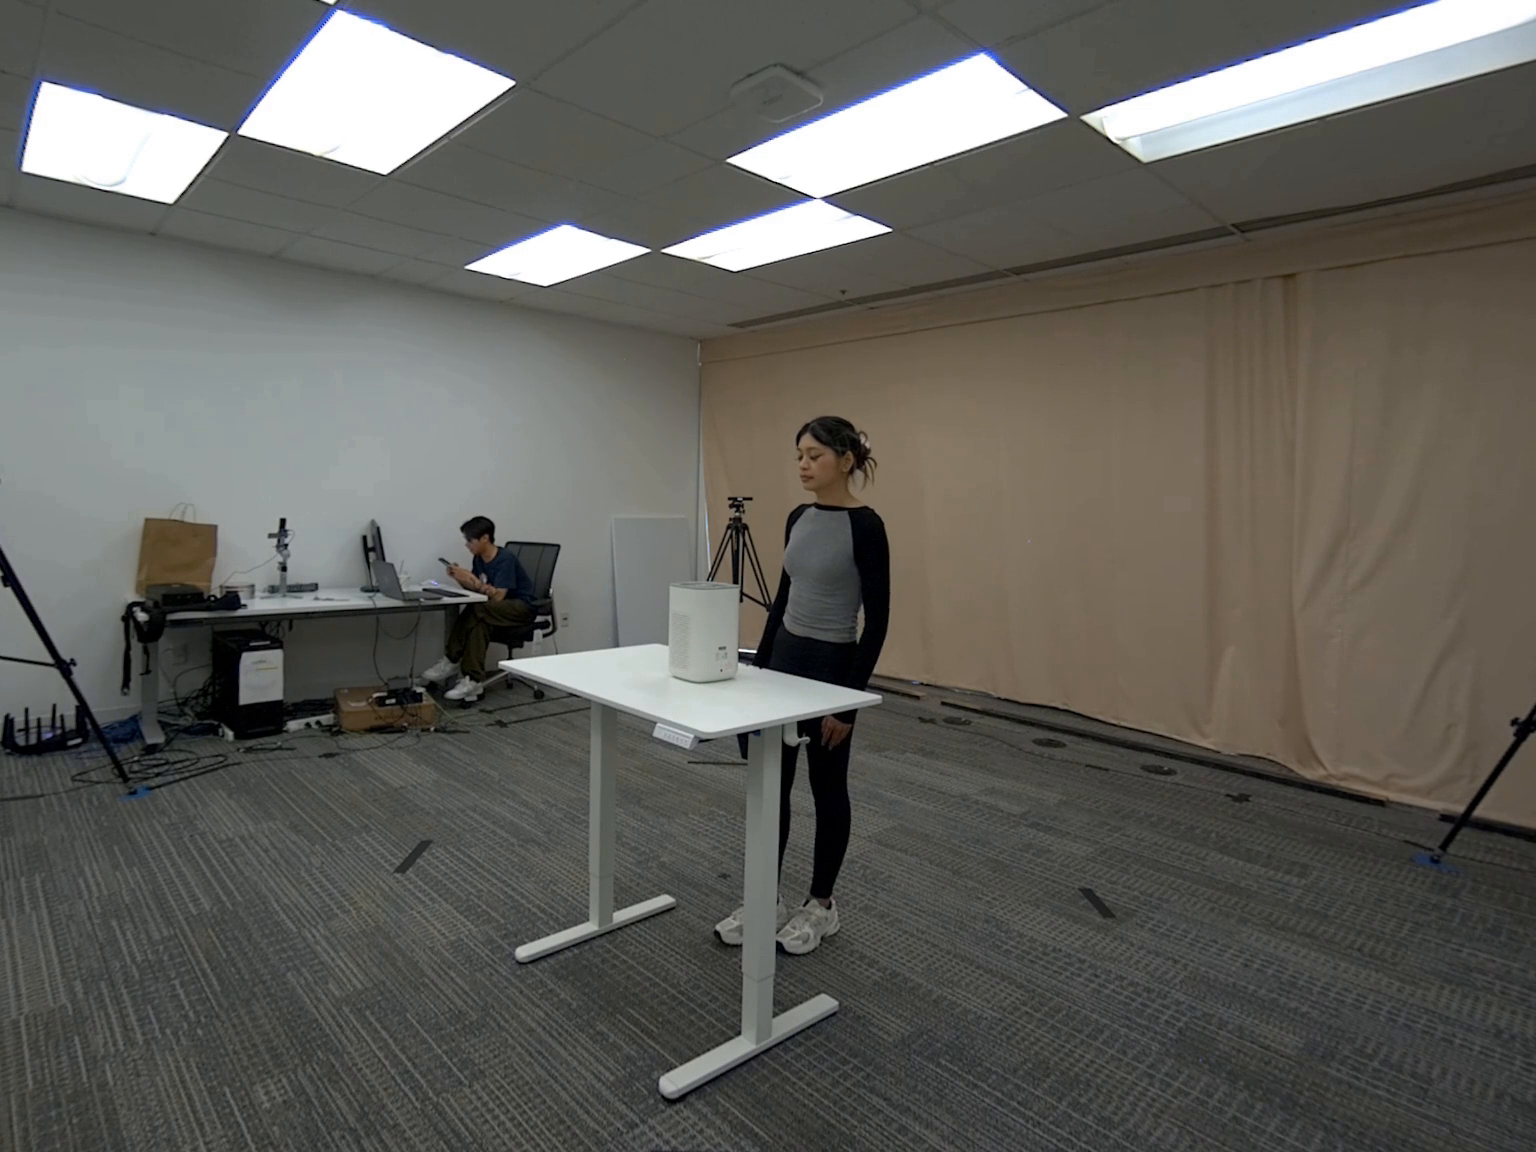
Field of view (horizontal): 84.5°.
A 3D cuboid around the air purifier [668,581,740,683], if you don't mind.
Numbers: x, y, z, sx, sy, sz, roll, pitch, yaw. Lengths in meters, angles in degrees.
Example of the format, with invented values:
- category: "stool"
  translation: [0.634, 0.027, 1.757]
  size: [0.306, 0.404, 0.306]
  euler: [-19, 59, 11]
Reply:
- category: "air purifier"
  translation: [-0.195, 0.159, 2.373]
  size: [0.167, 0.265, 0.176]
  euler: [-2, 4, -42]
